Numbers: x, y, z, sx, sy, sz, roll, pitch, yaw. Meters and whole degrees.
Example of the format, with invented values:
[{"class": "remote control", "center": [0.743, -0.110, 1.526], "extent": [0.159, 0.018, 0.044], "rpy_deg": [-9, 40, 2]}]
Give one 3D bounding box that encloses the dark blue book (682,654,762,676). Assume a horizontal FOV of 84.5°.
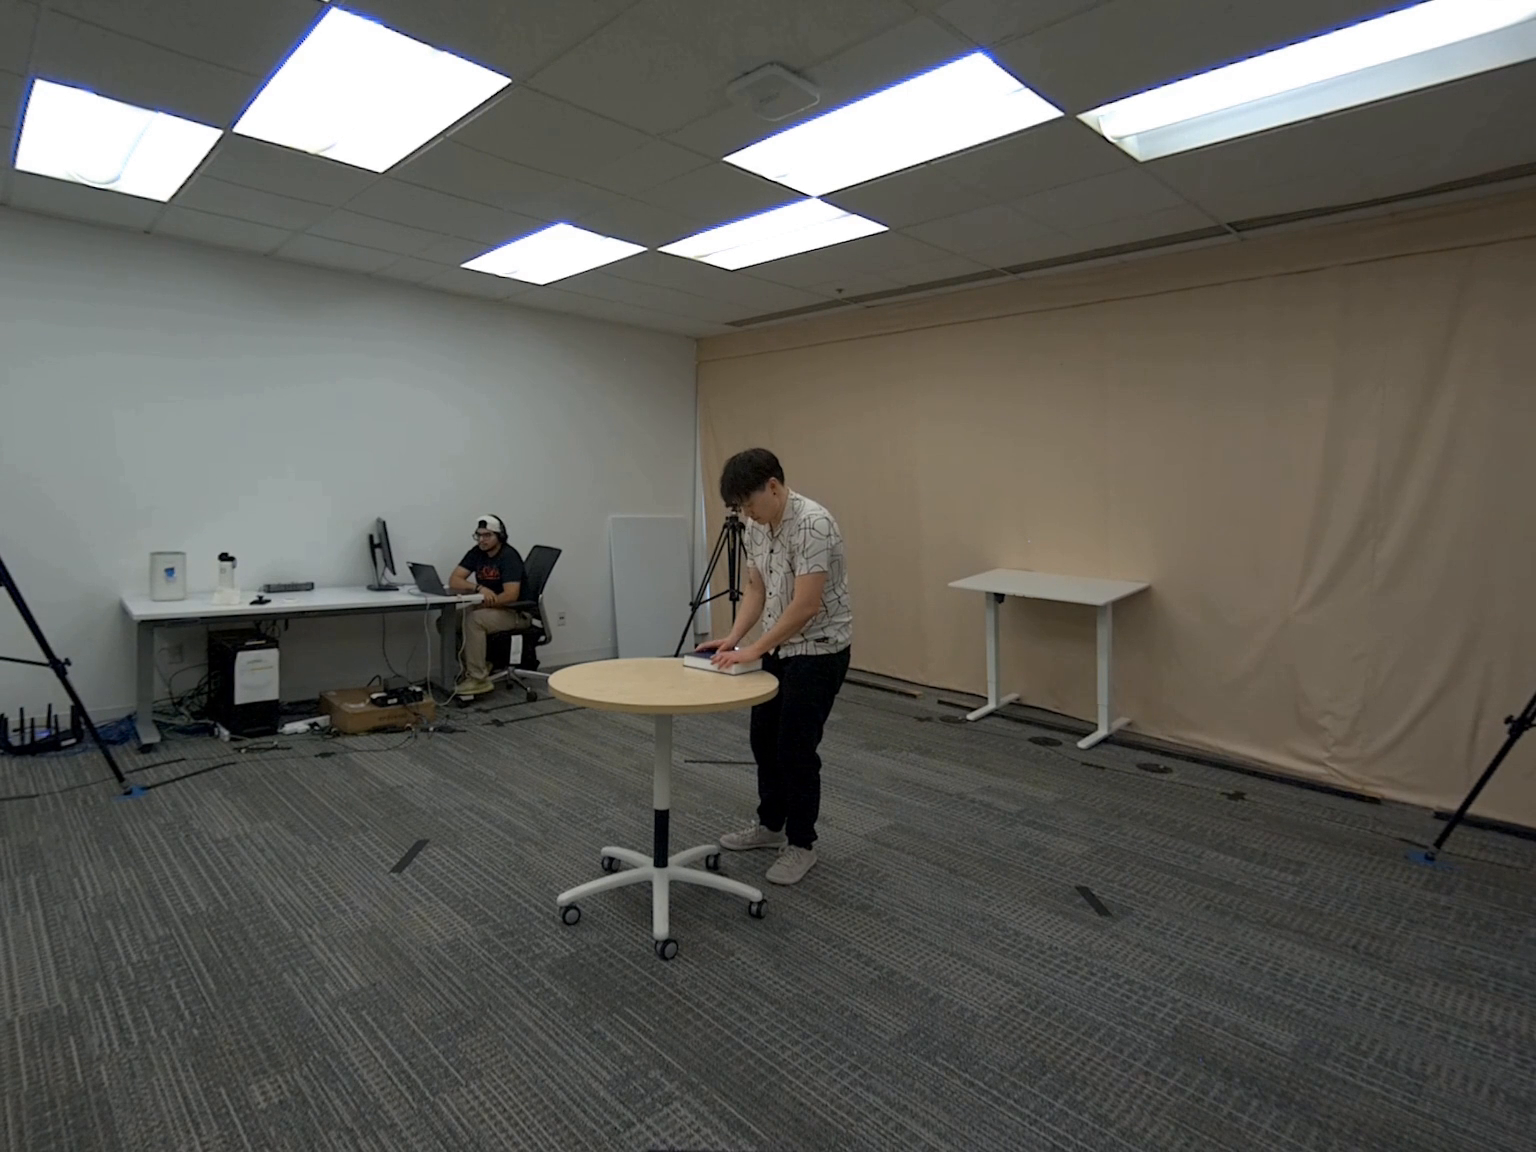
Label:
[{"class": "dark blue book", "center": [-0.170, 0.316, 3.026], "extent": [0.251, 0.045, 0.160], "rpy_deg": [5, 5, 37]}]
